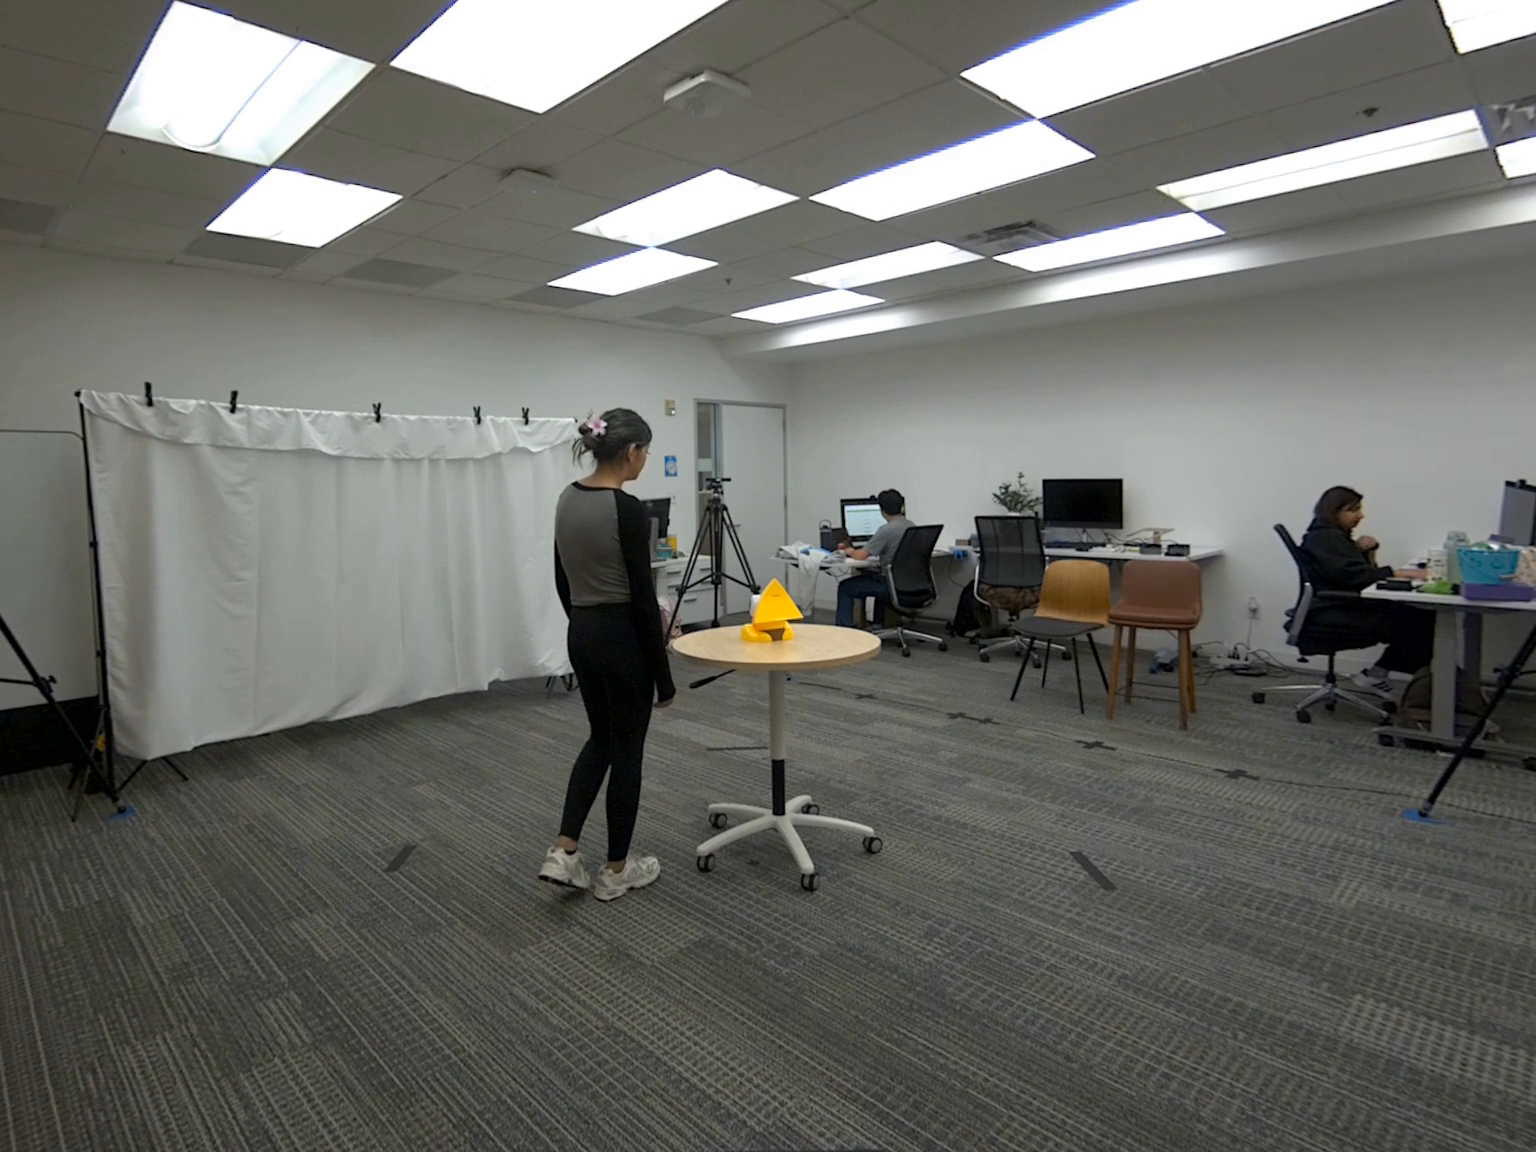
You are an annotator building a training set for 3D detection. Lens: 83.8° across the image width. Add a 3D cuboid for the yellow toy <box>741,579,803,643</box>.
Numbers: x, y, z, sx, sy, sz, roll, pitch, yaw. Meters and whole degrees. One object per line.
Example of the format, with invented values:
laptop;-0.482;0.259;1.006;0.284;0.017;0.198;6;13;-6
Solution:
yellow toy;0.001;0.122;3.226;0.200;0.230;0.198;-4;4;-29
